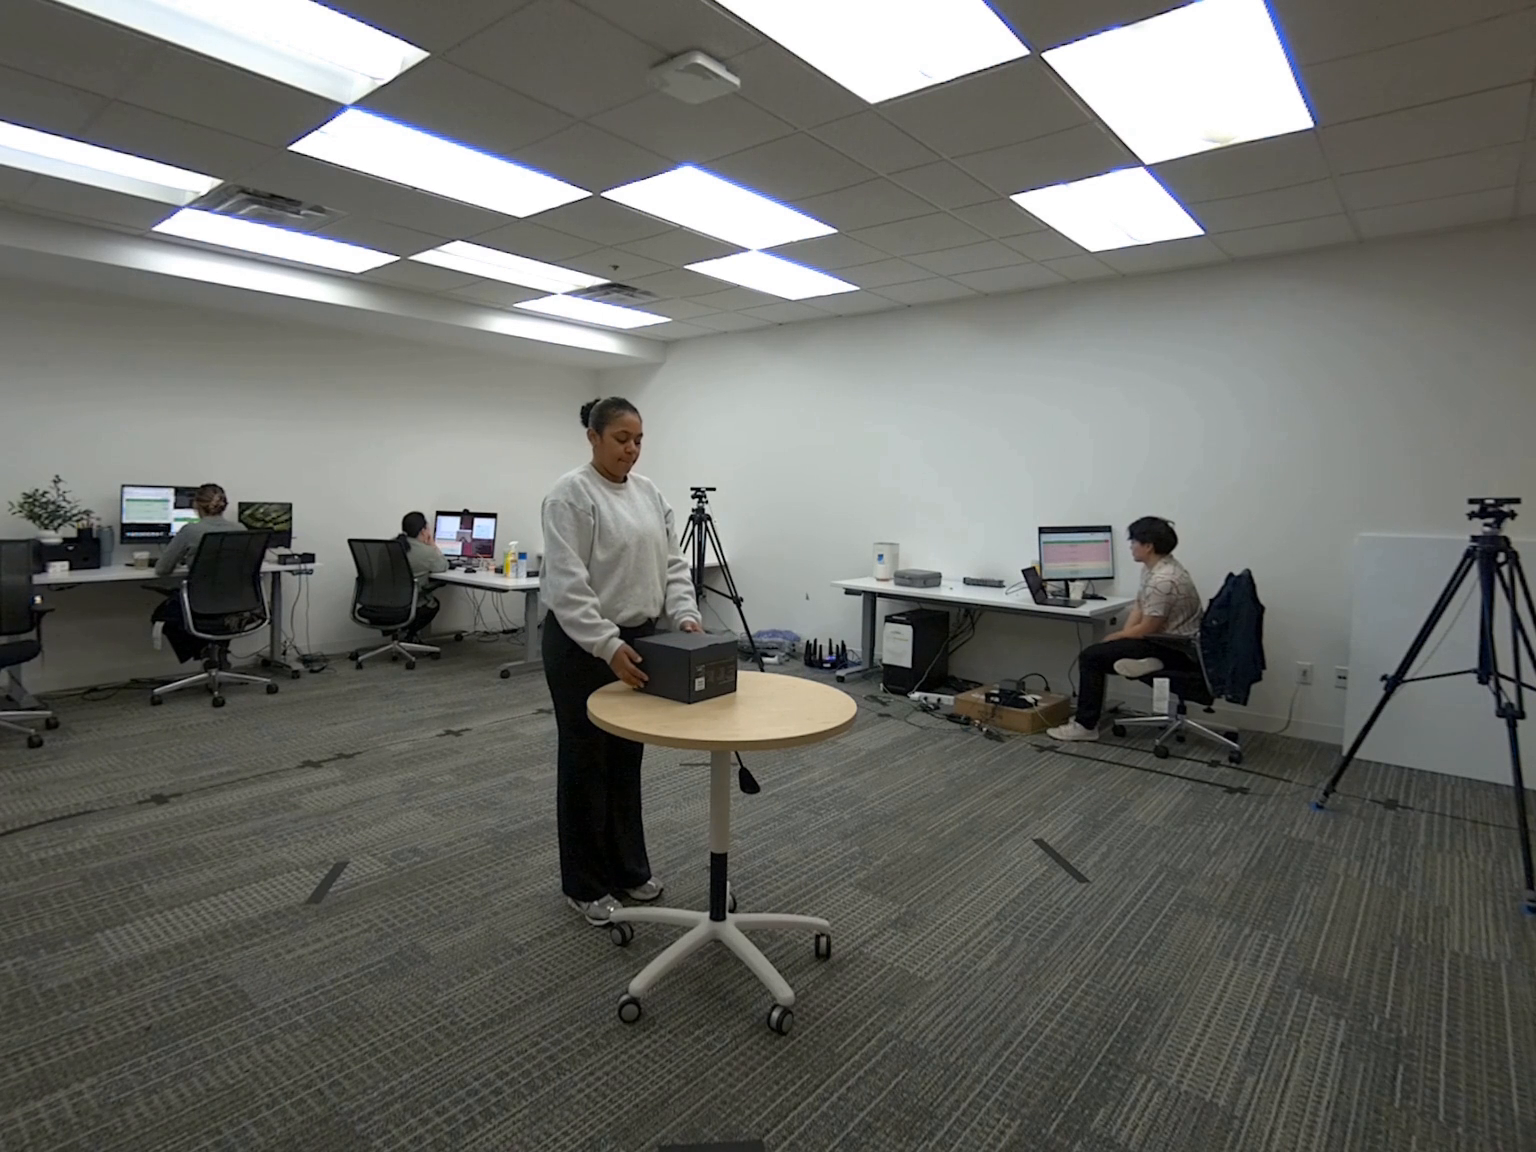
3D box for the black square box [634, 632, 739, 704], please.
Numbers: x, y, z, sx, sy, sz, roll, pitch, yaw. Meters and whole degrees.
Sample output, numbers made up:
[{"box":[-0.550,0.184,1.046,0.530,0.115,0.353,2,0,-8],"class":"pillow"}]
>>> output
[{"box":[-0.244,0.263,2.520,0.235,0.155,0.210,6,6,39],"class":"black square box"}]
